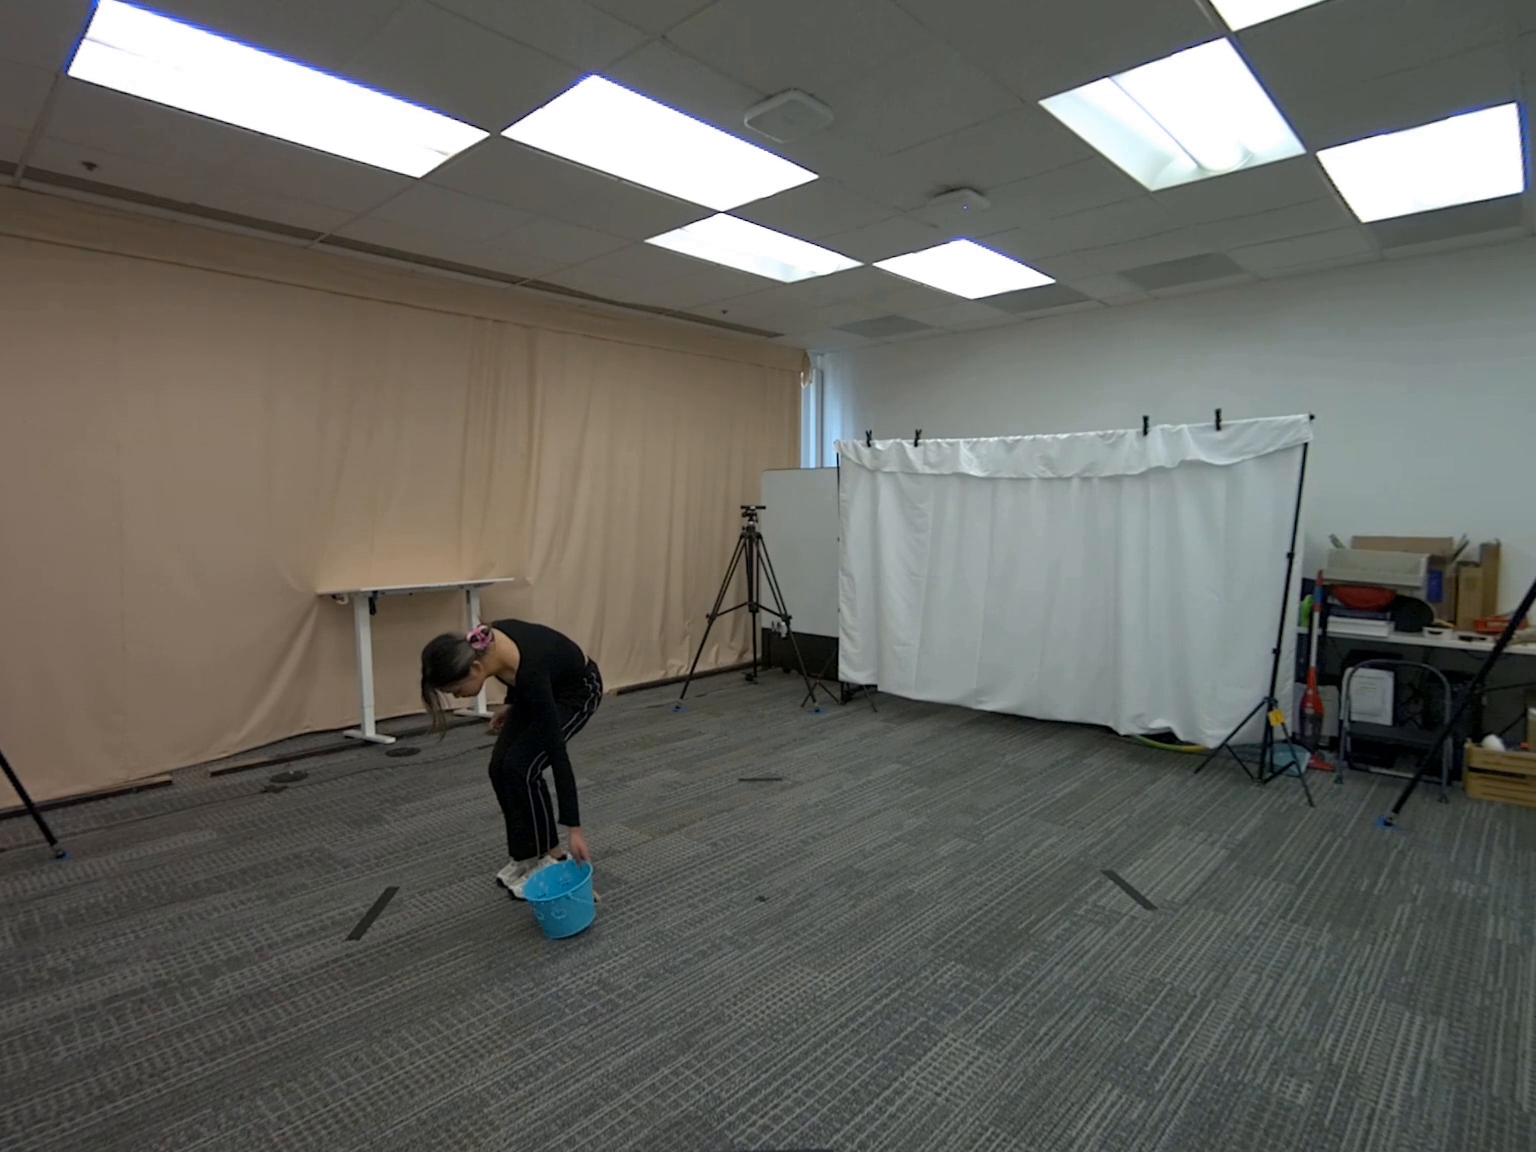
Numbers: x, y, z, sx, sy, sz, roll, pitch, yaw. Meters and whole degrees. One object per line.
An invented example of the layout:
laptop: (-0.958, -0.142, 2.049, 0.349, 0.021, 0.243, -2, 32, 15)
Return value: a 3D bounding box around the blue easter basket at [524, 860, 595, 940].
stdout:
blue easter basket: (-0.680, 1.068, 2.779, 0.244, 0.155, 0.245, -12, 10, 0)
